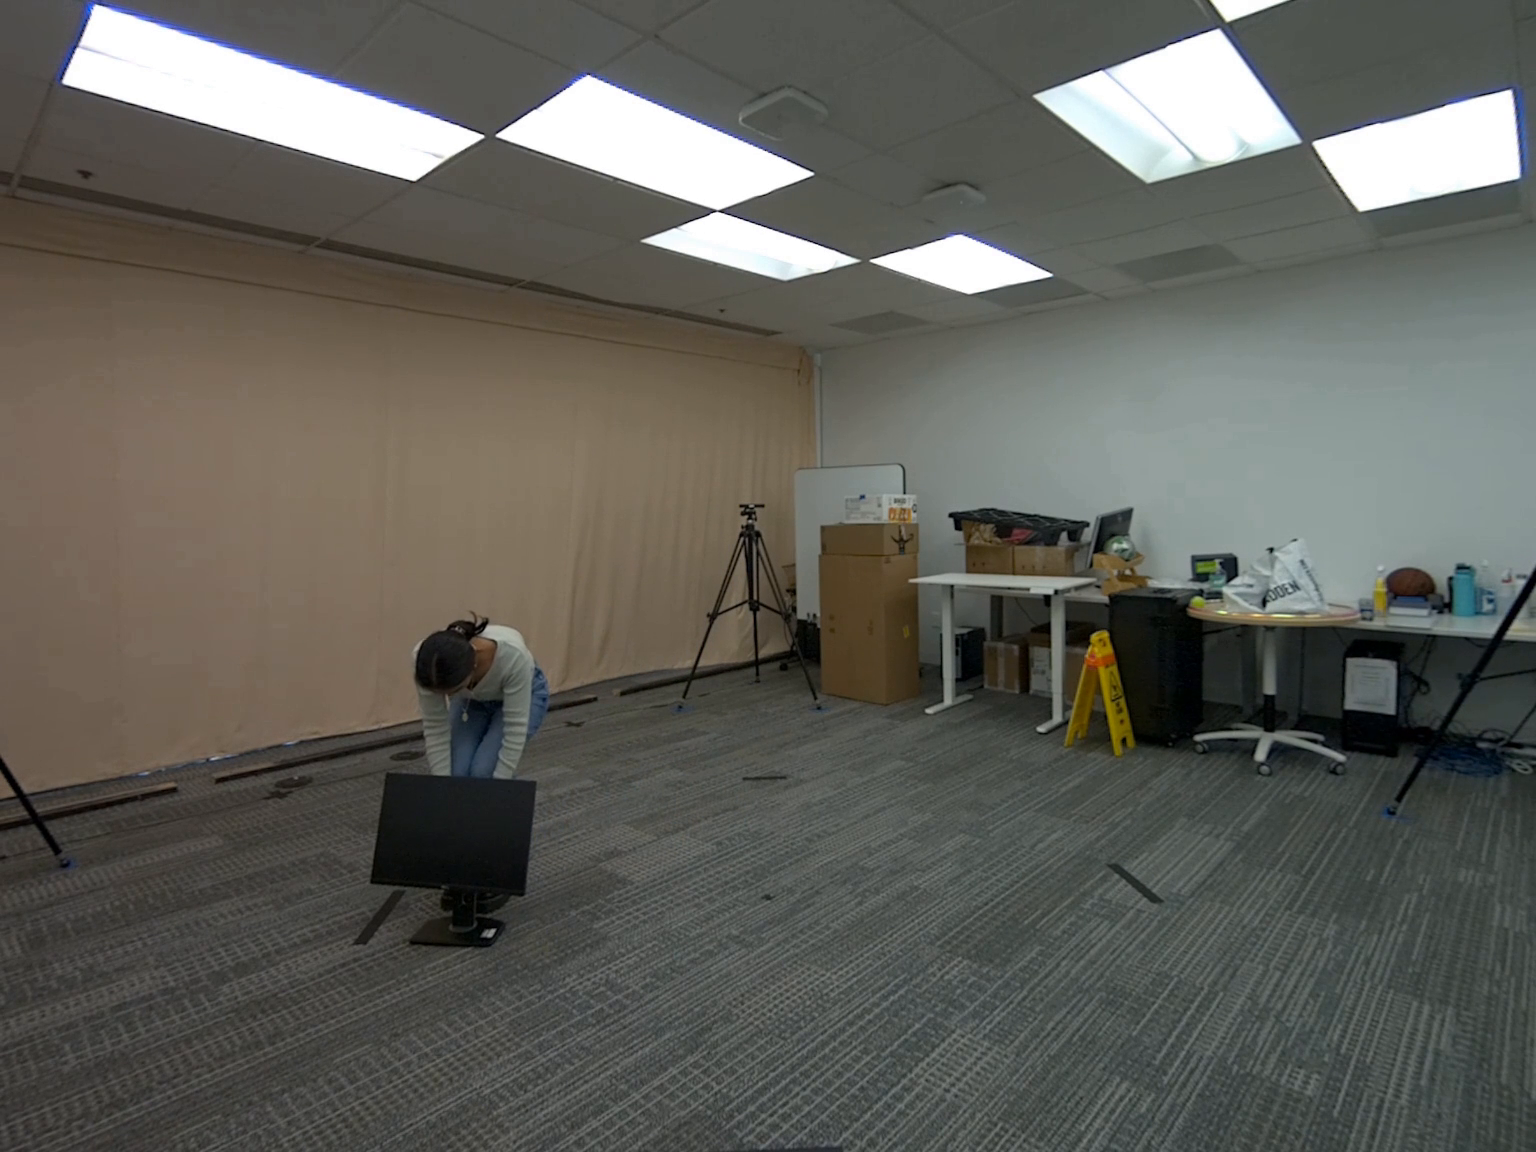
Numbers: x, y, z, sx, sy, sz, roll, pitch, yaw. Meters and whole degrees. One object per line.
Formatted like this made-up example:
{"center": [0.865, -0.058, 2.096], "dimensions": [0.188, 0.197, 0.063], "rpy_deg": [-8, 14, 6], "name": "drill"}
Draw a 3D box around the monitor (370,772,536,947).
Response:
{"center": [-1.025, 0.912, 2.774], "dimensions": [0.536, 0.515, 0.173], "rpy_deg": [1, 4, 10], "name": "monitor"}
